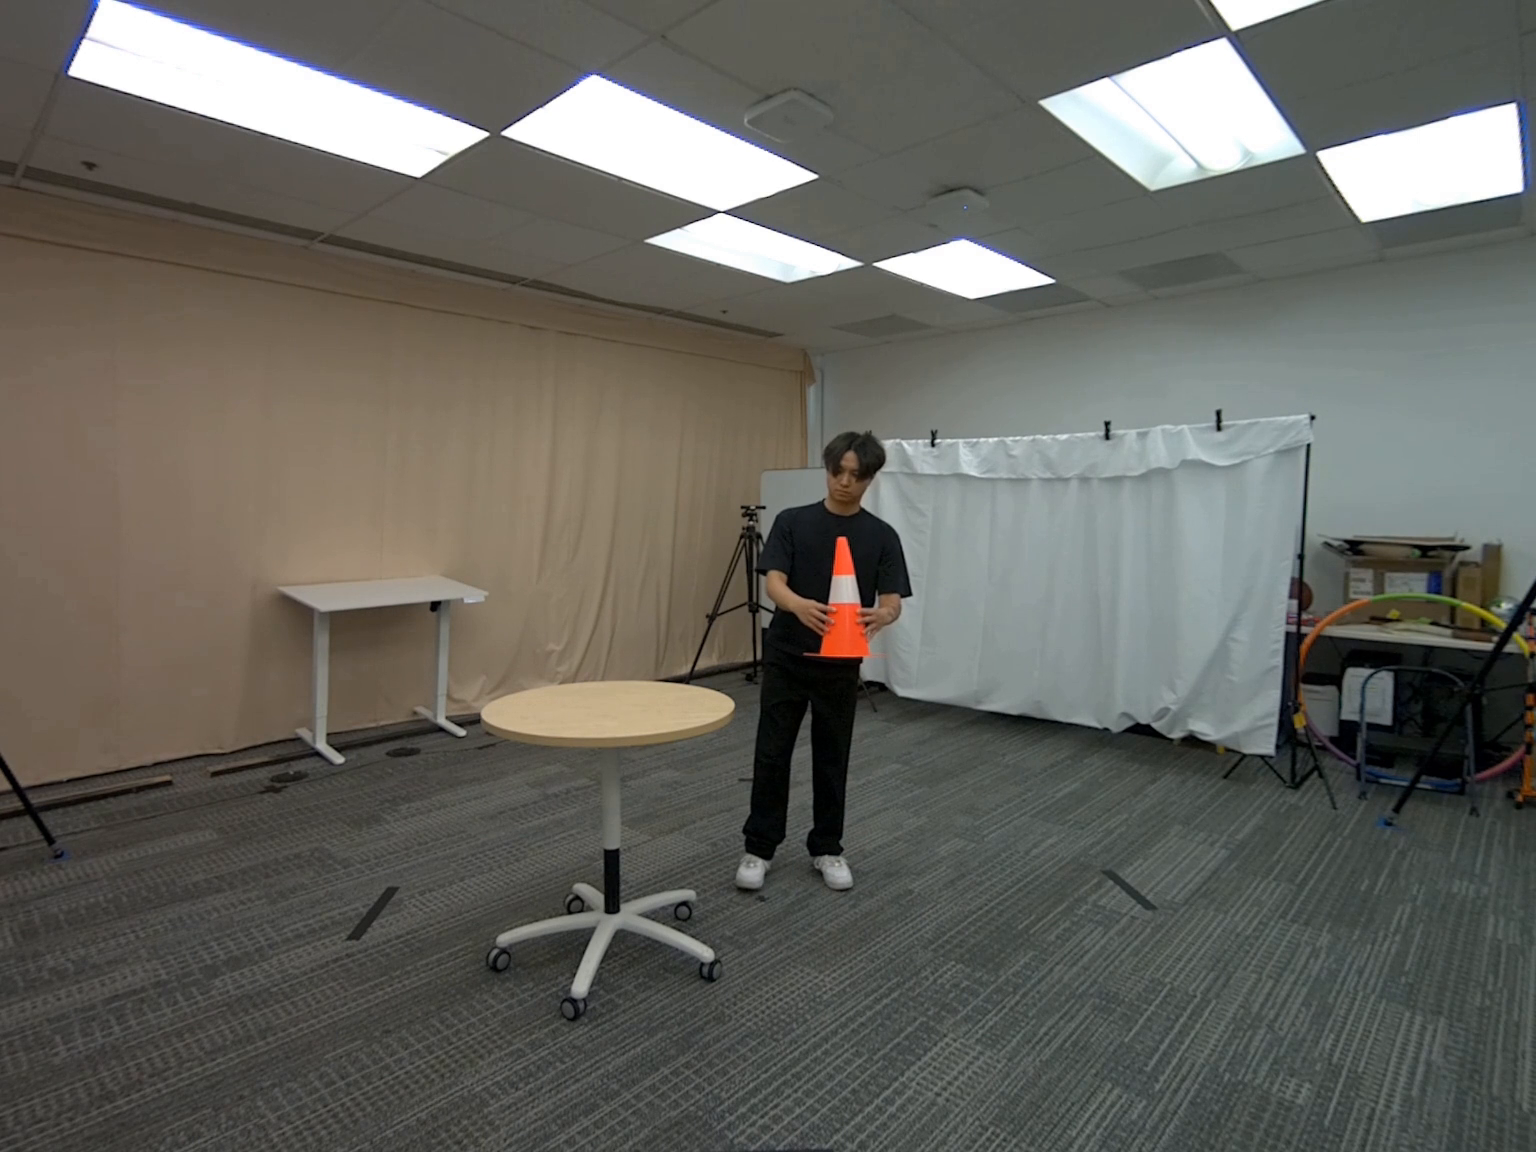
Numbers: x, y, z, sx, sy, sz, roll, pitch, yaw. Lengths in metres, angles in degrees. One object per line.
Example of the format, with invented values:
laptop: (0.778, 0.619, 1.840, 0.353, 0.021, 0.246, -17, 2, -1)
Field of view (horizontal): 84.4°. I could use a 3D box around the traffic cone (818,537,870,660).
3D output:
traffic cone: (0.238, 0.067, 2.725, 0.209, 0.385, 0.199, -5, -5, 29)
